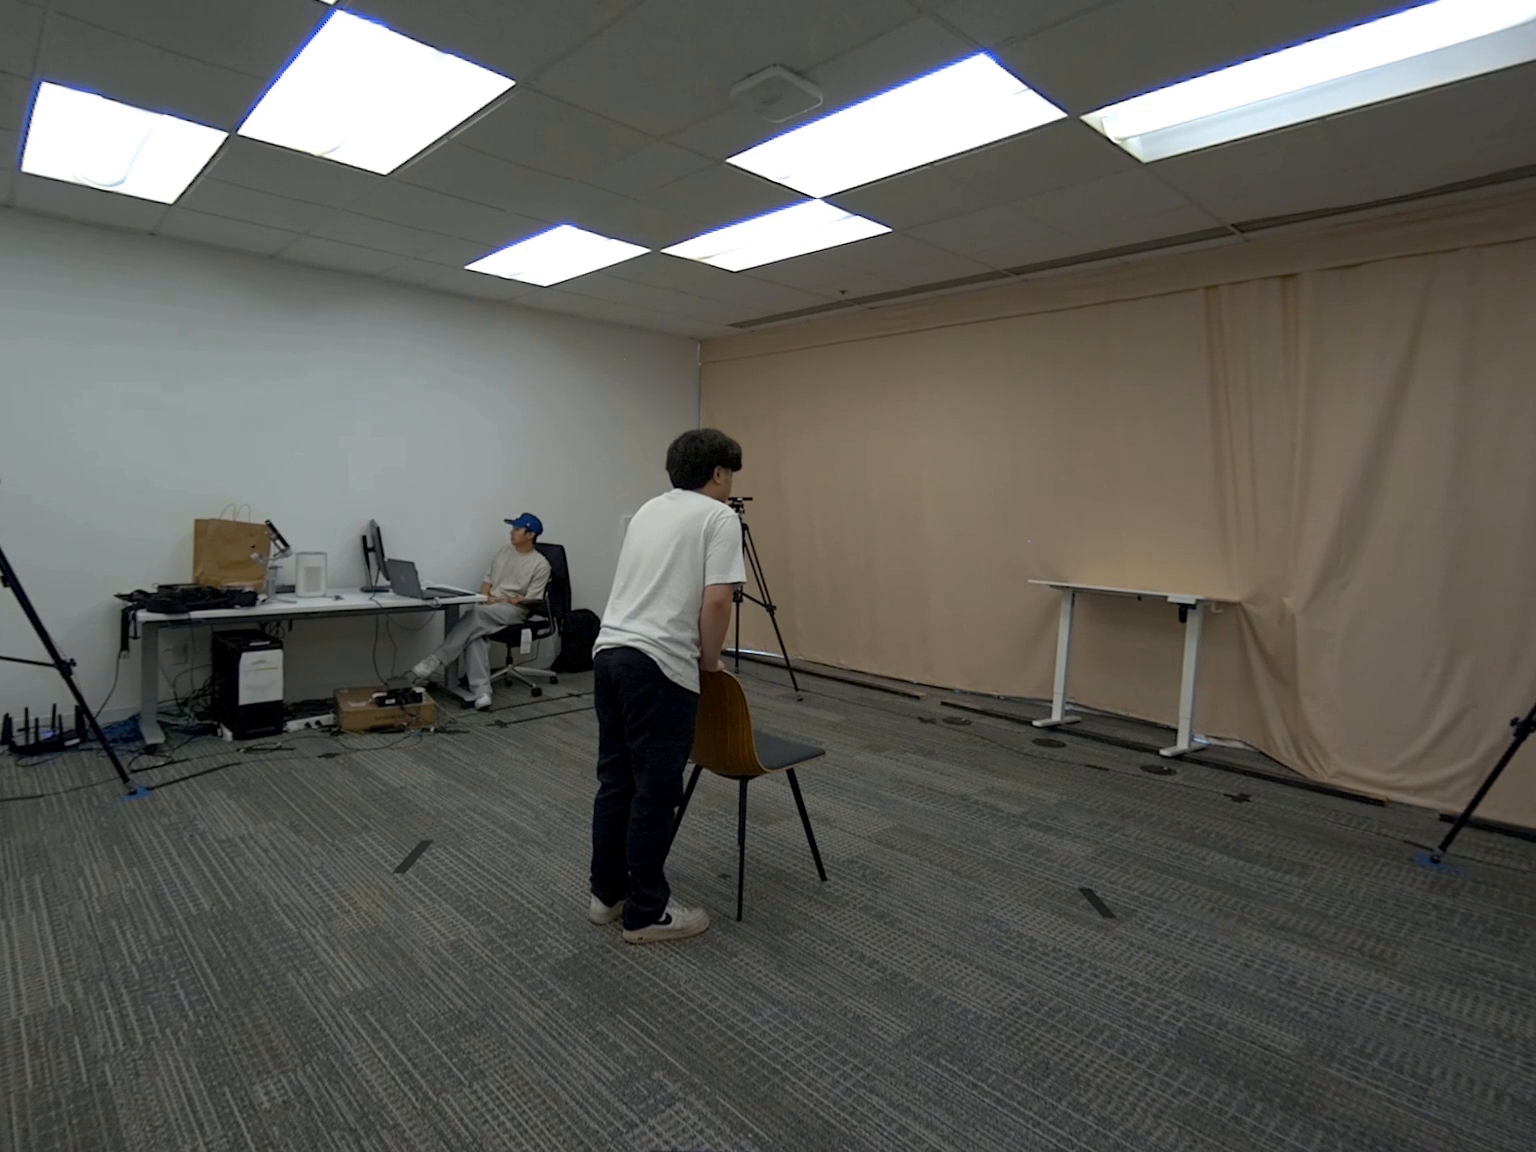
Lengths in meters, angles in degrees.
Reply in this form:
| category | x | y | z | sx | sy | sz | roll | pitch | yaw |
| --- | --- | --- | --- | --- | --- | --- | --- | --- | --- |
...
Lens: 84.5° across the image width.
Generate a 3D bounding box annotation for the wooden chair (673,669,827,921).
| category | x | y | z | sx | sy | sz | roll | pitch | yaw |
| --- | --- | --- | --- | --- | --- | --- | --- | --- | --- |
| wooden chair | -0.091 | 0.688 | 3.063 | 0.490 | 0.873 | 0.512 | 4 | 9 | 44 |
